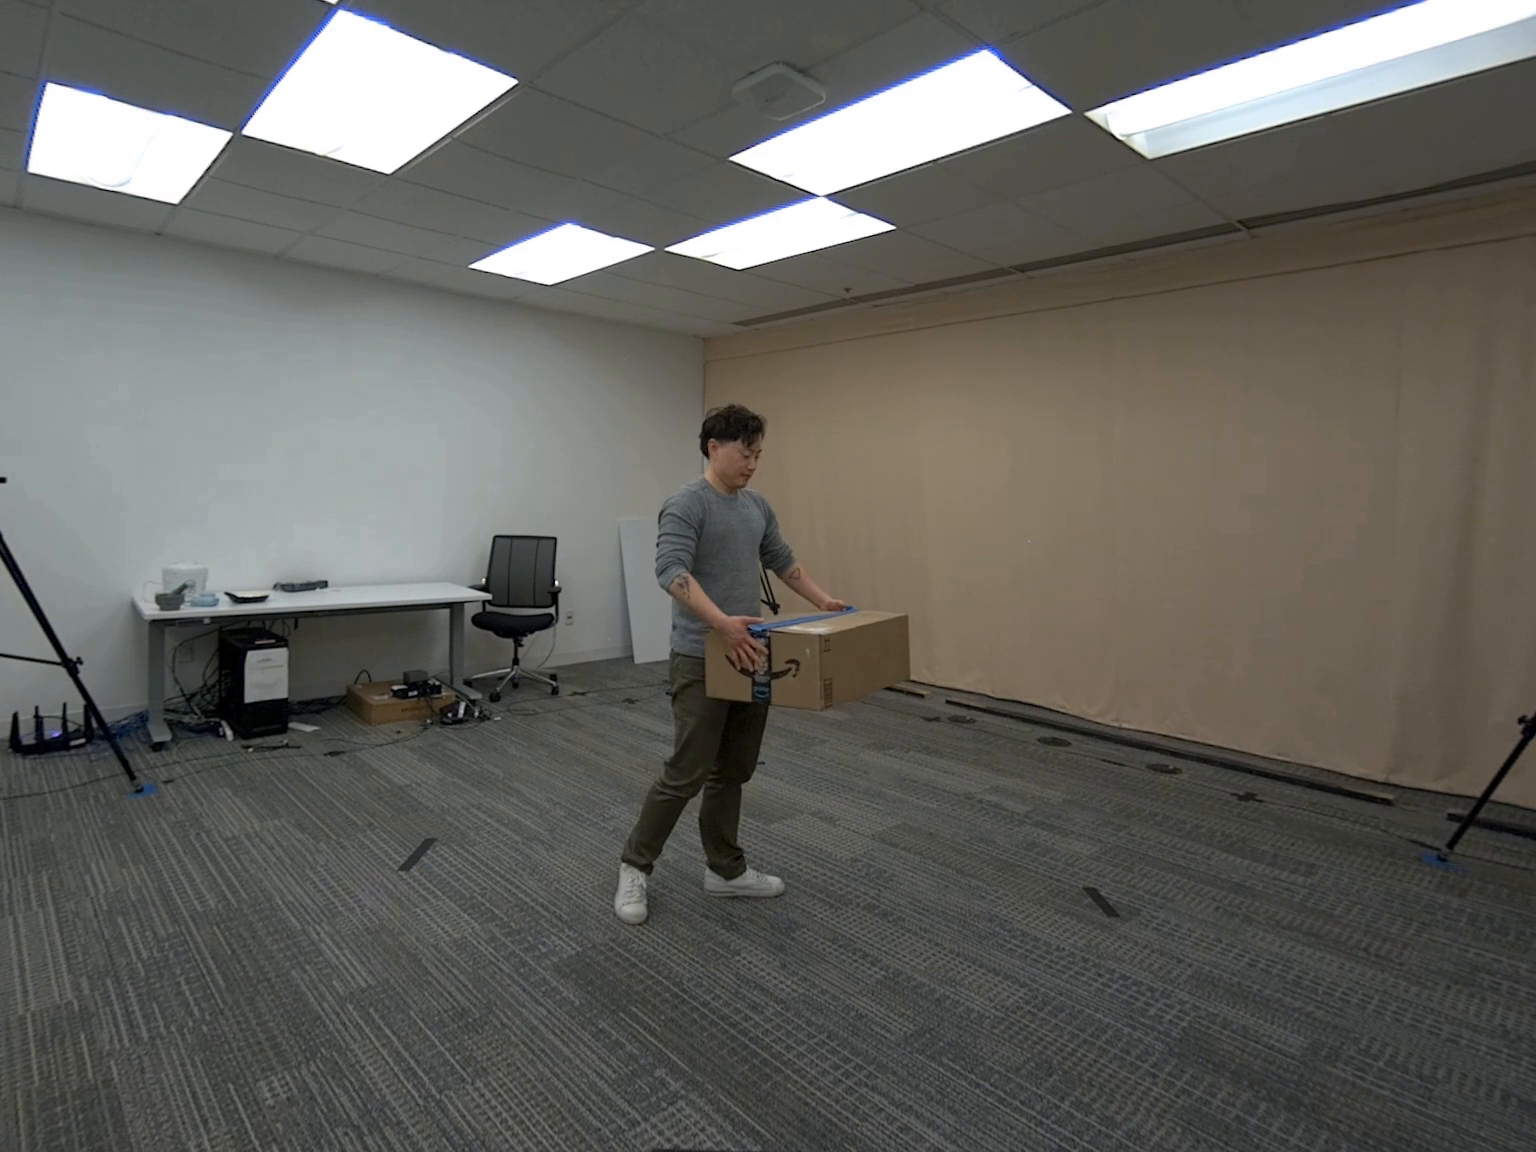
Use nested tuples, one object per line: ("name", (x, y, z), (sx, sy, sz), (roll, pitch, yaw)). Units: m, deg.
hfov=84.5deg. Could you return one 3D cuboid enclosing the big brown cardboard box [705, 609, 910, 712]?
("big brown cardboard box", (0.124, 0.245, 2.659), (0.427, 0.233, 0.576), (1, 3, 35))
